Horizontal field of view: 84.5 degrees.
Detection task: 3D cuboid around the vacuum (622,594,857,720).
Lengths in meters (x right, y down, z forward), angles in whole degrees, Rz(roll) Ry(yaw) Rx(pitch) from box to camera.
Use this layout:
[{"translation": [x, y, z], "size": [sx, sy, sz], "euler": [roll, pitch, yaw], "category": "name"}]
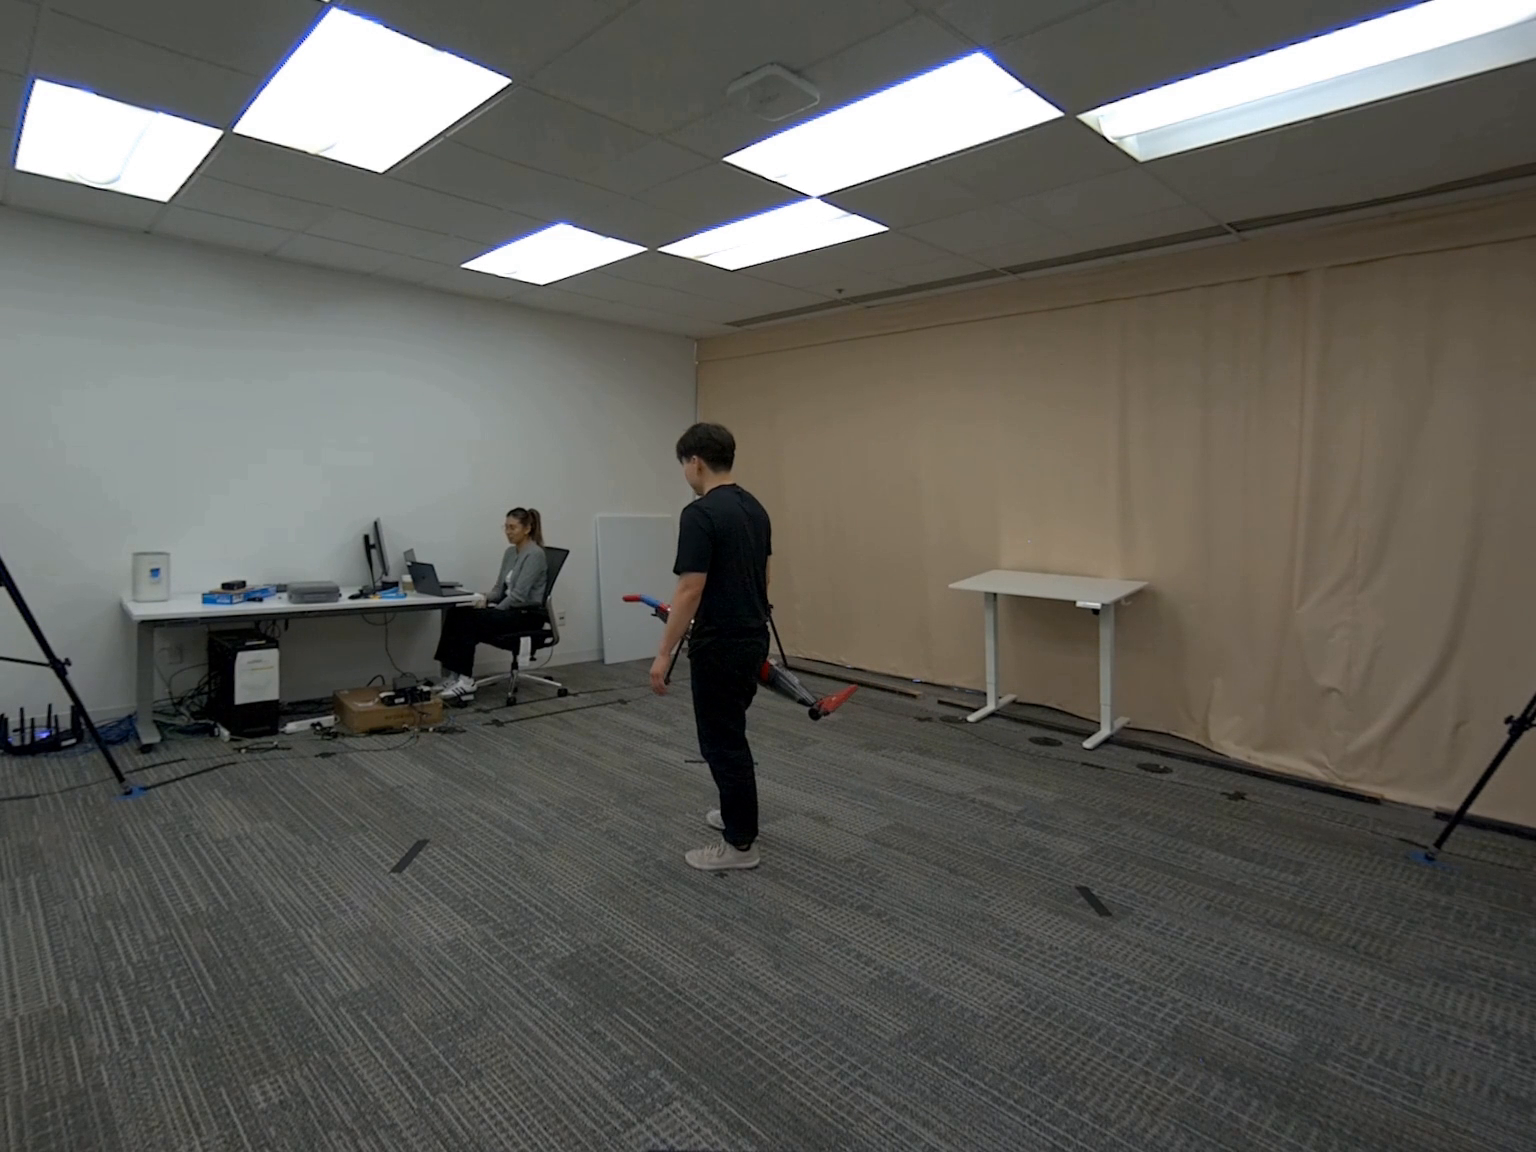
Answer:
[{"translation": [-0.196, 0.300, 3.502], "size": [1.075, 0.142, 0.249], "euler": [25, 24, 25], "category": "vacuum"}]
